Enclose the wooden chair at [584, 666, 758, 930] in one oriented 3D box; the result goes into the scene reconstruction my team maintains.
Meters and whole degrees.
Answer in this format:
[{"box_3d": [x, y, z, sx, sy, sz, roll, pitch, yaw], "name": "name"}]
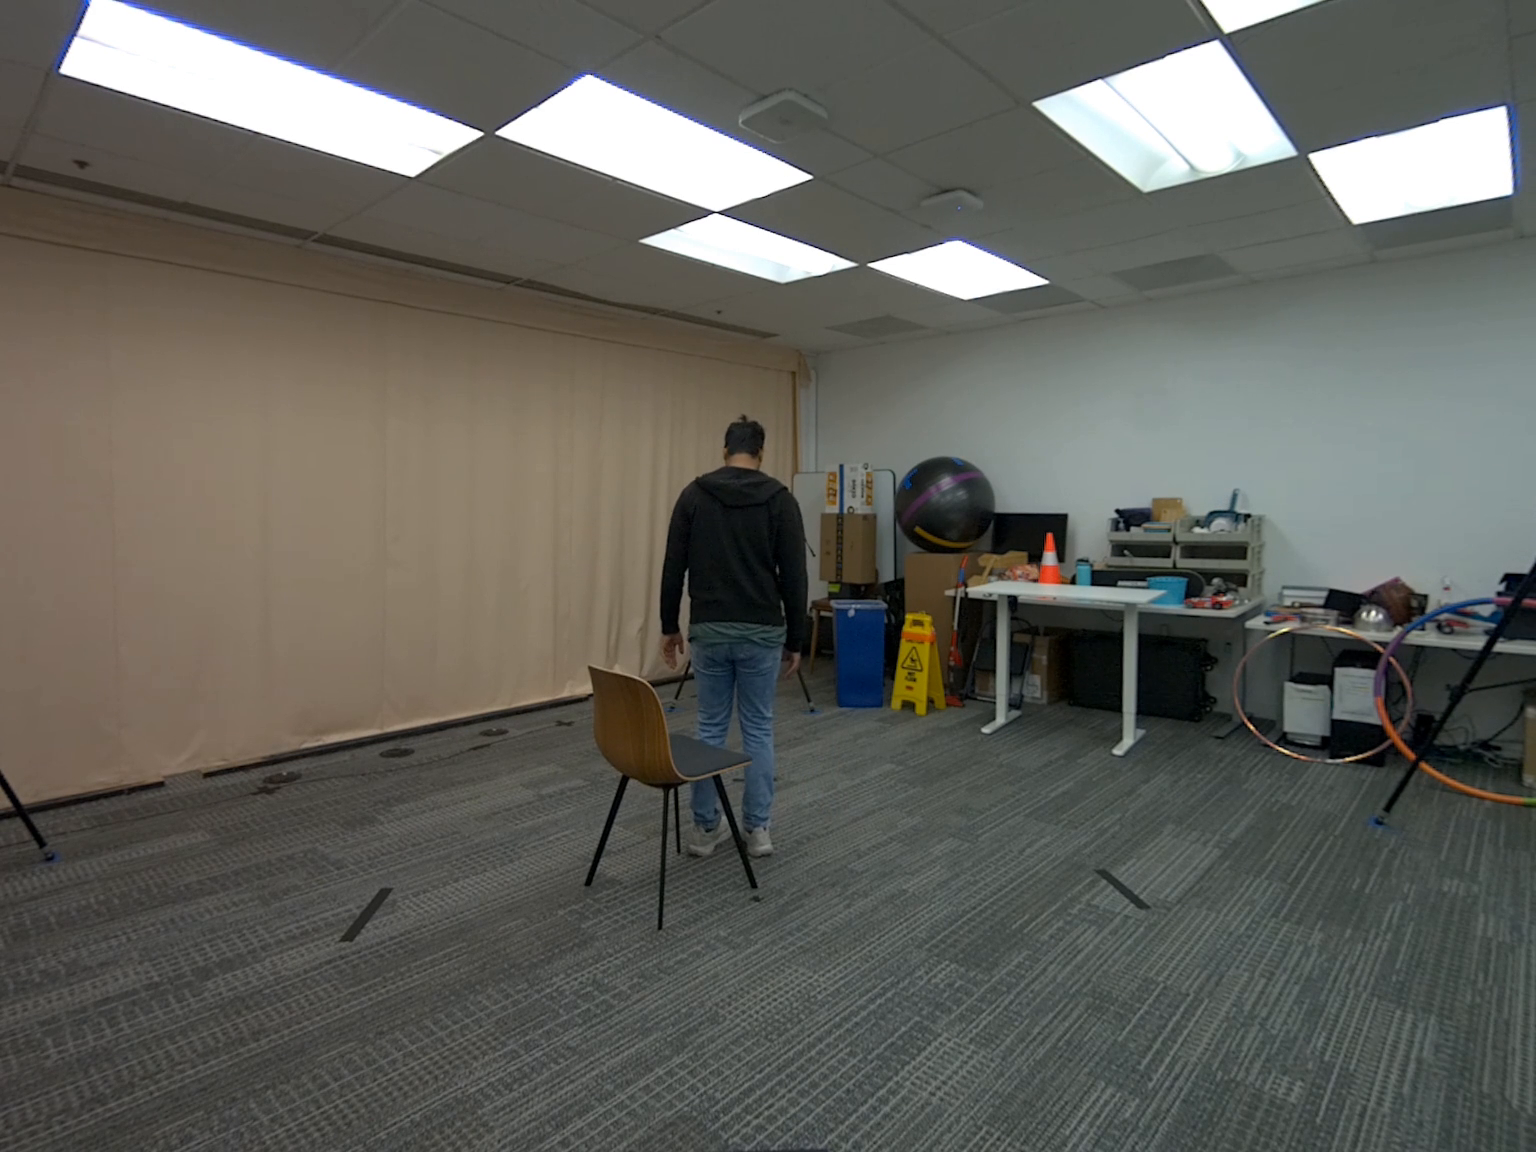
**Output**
[{"box_3d": [-0.349, 0.711, 3.062, 0.508, 0.874, 0.494, -9, 8, -42], "name": "wooden chair"}]
